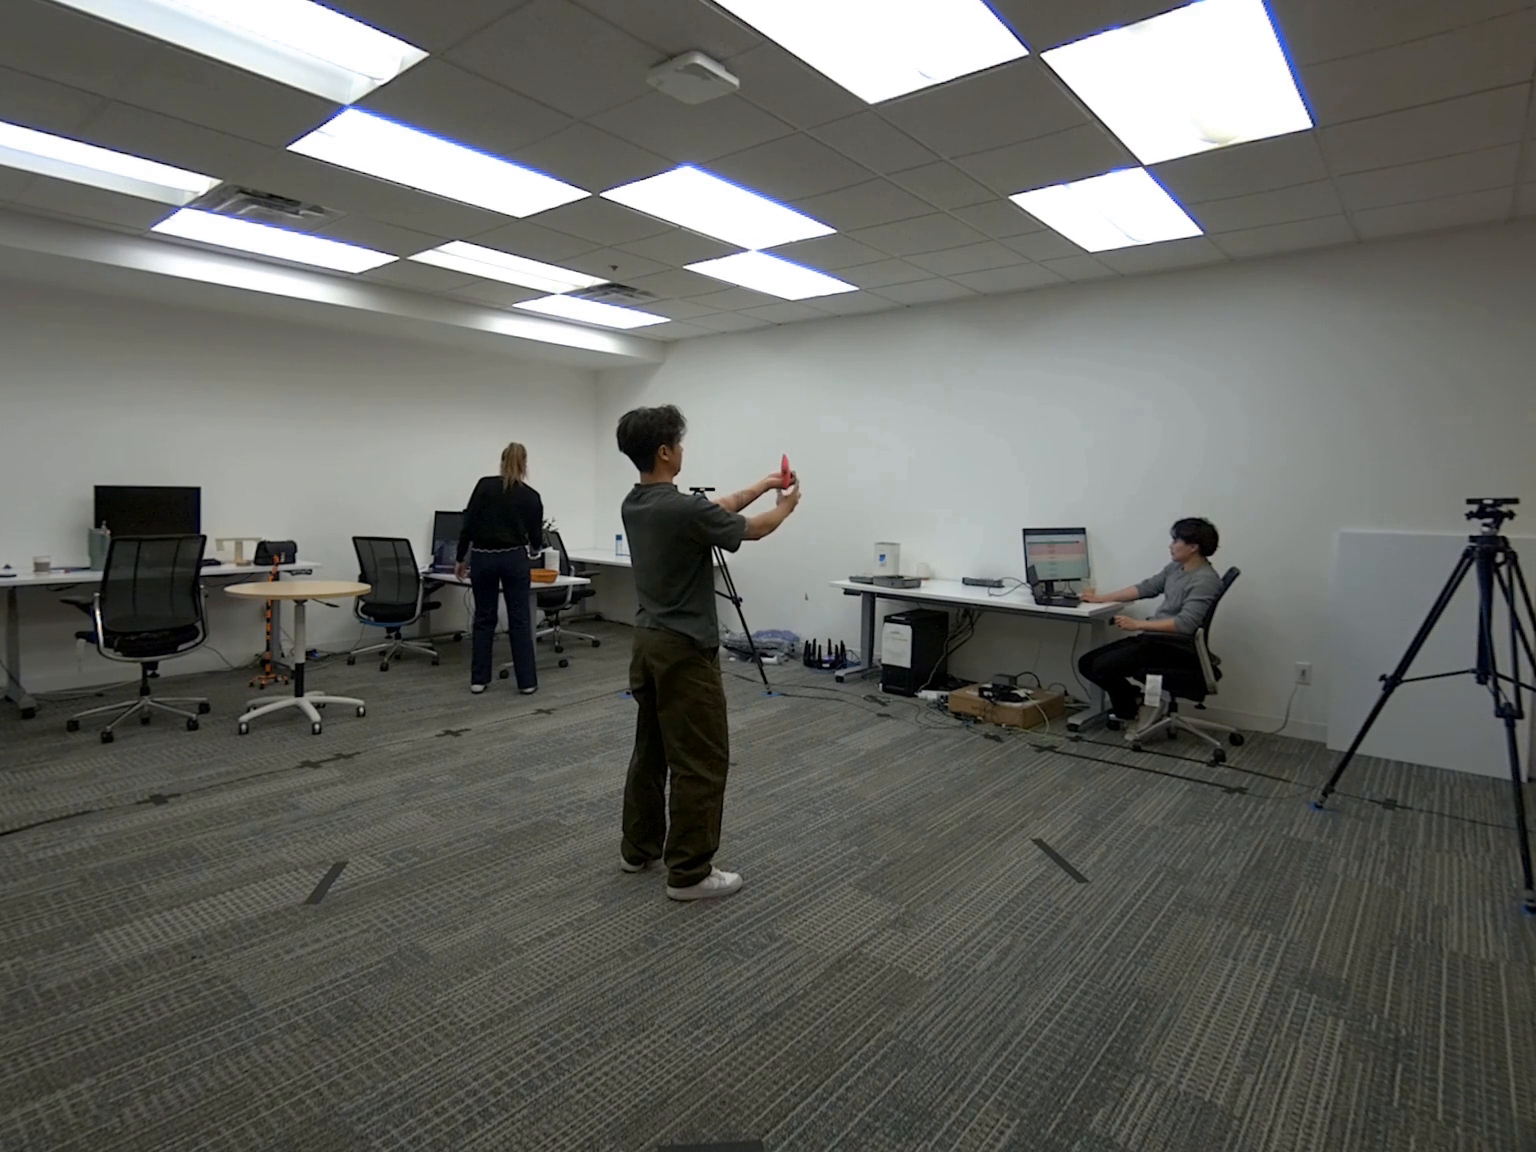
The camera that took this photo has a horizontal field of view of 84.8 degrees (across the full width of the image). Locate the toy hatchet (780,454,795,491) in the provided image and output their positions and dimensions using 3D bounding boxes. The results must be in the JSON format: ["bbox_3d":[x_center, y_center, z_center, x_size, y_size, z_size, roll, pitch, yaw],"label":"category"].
[{"bbox_3d":[0.068,-0.415,3.242,0.030,0.129,0.271,-4,13,8],"label":"toy hatchet"}]
